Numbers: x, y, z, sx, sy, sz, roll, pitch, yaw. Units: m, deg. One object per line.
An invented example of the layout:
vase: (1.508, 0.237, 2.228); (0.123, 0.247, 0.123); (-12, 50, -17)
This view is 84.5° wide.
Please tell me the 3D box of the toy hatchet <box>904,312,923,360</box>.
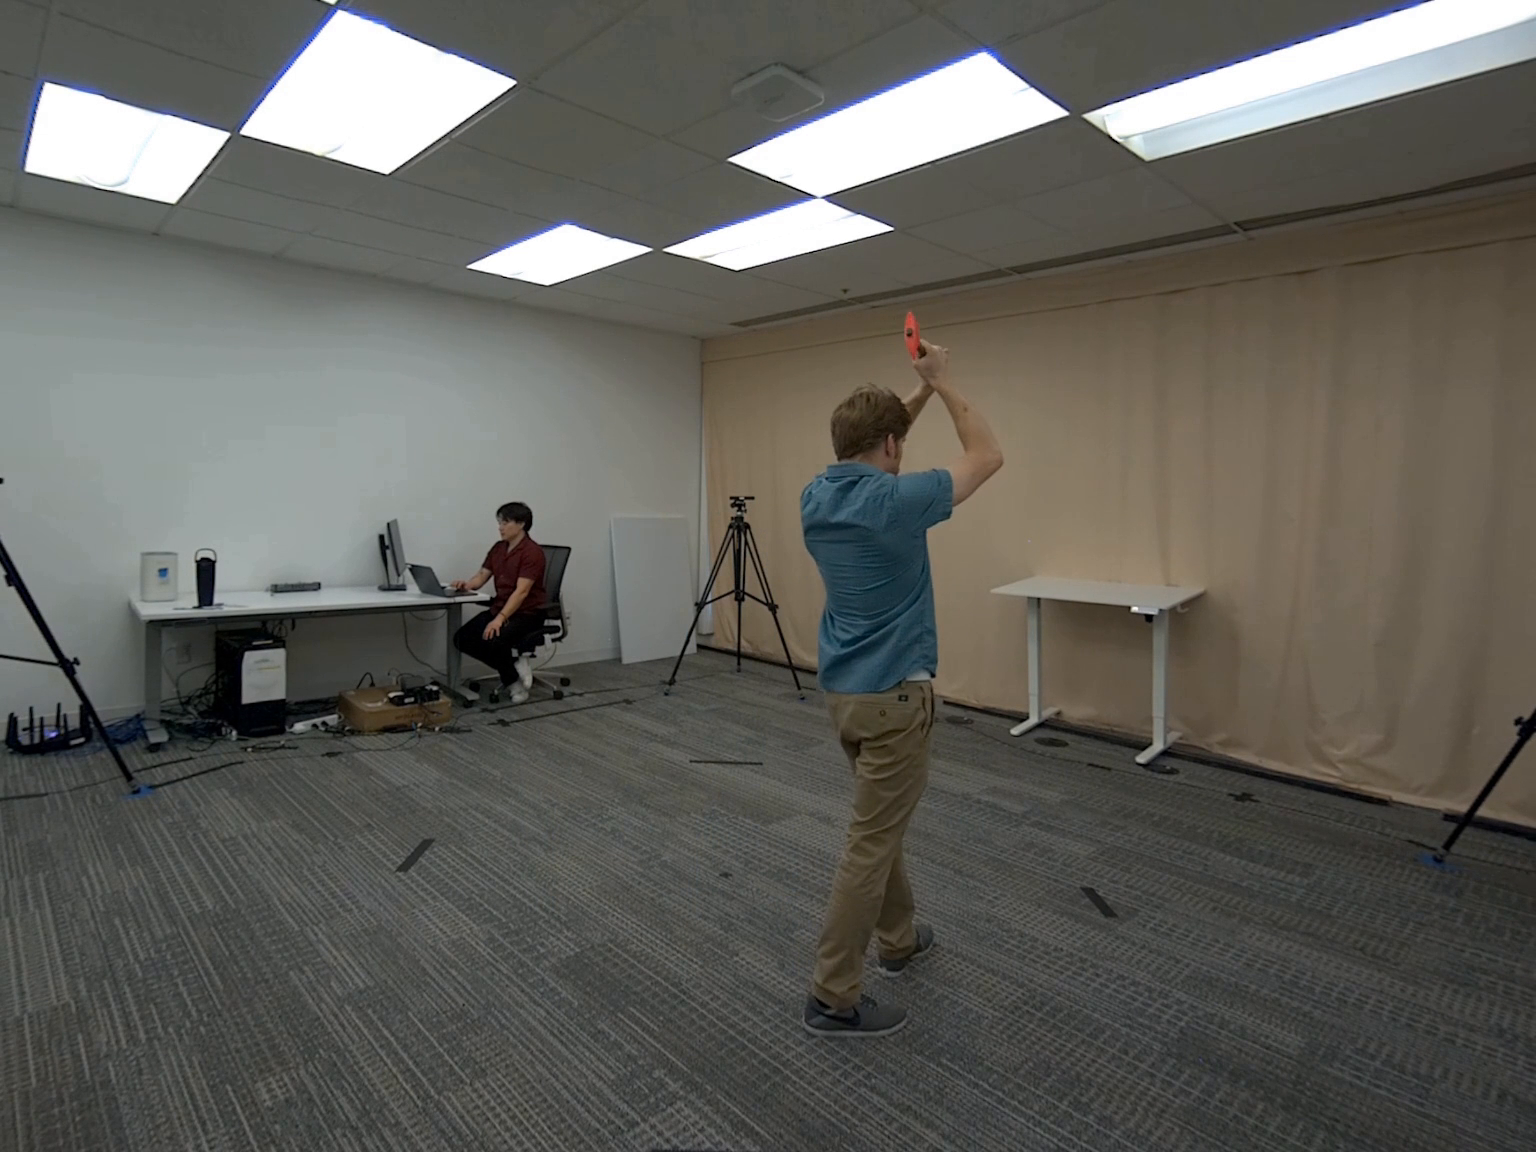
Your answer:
toy hatchet: (0.410, -0.634, 2.264); (0.030, 0.131, 0.266); (-12, 3, 28)
